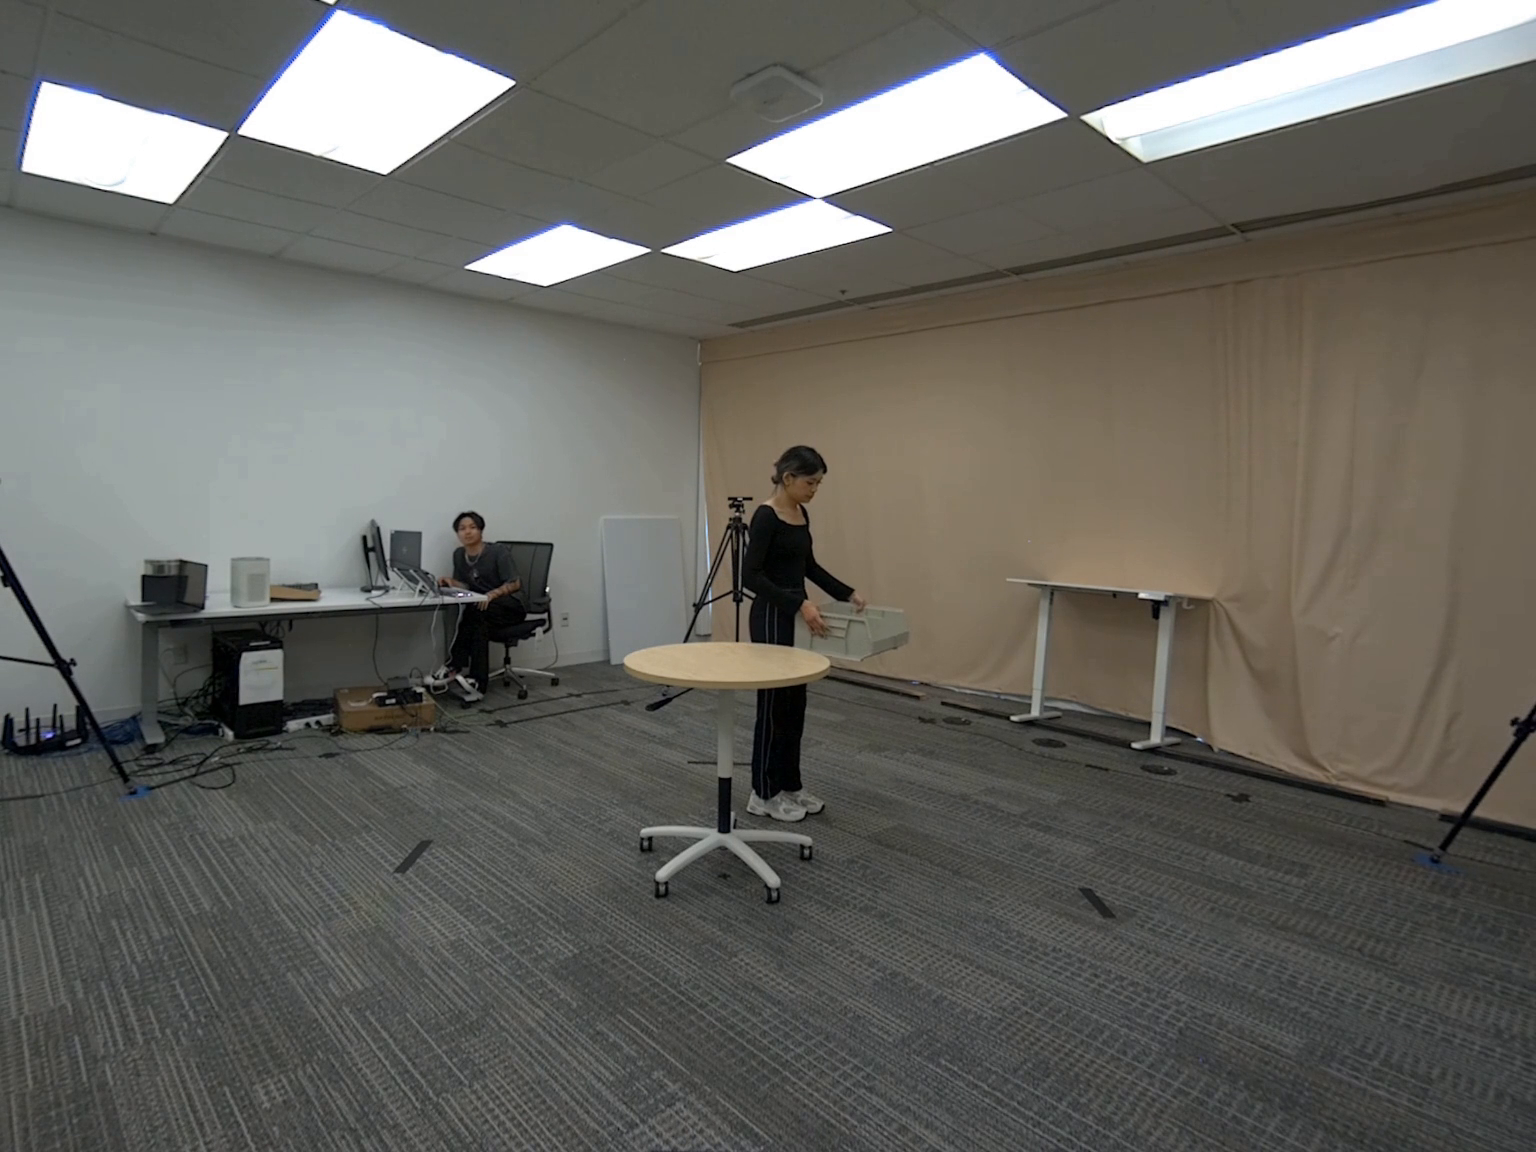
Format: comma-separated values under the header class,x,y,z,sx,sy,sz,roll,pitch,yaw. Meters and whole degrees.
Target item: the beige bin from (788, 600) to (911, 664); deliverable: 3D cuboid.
class,x,y,z,sx,sy,sz,roll,pitch,yaw
beige bin,0.355,0.229,3.649,0.386,0.188,0.414,5,5,30
